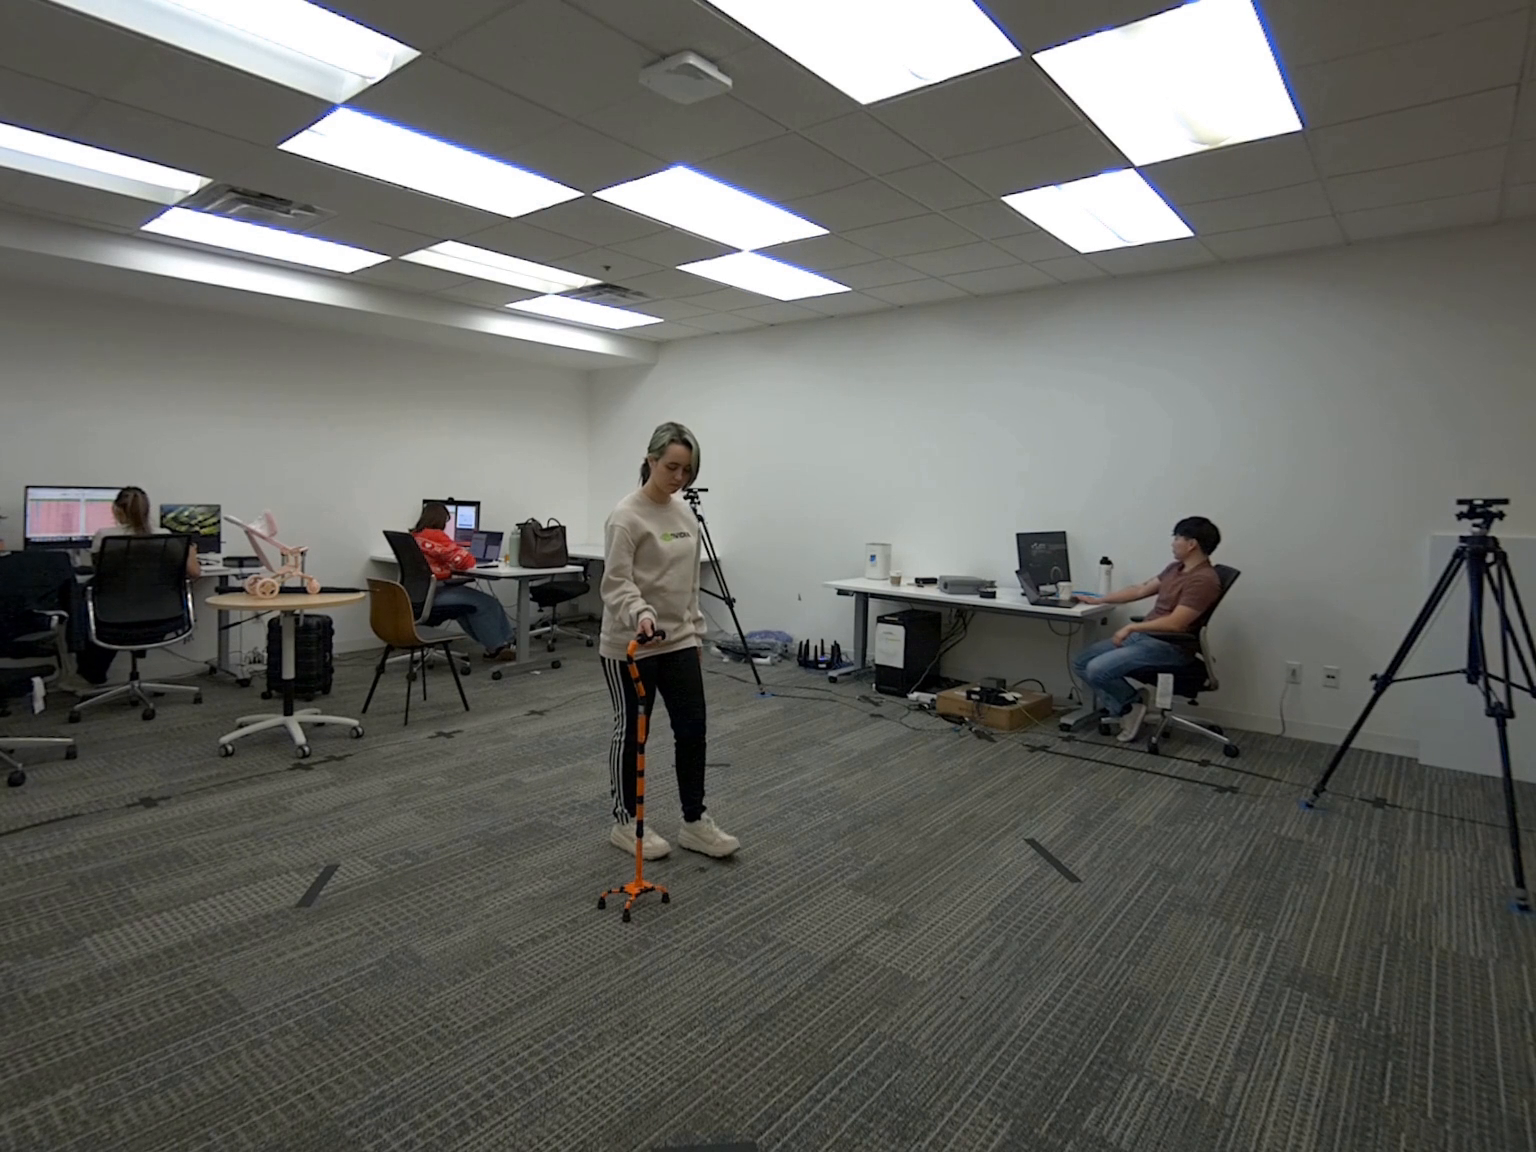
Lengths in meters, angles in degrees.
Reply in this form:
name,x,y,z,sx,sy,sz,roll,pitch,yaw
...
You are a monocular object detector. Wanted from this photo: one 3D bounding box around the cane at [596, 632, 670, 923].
name,x,y,z,sx,sy,sz,roll,pitch,yaw
cane,-0.439,0.644,2.801,0.157,0.904,0.200,7,6,40
